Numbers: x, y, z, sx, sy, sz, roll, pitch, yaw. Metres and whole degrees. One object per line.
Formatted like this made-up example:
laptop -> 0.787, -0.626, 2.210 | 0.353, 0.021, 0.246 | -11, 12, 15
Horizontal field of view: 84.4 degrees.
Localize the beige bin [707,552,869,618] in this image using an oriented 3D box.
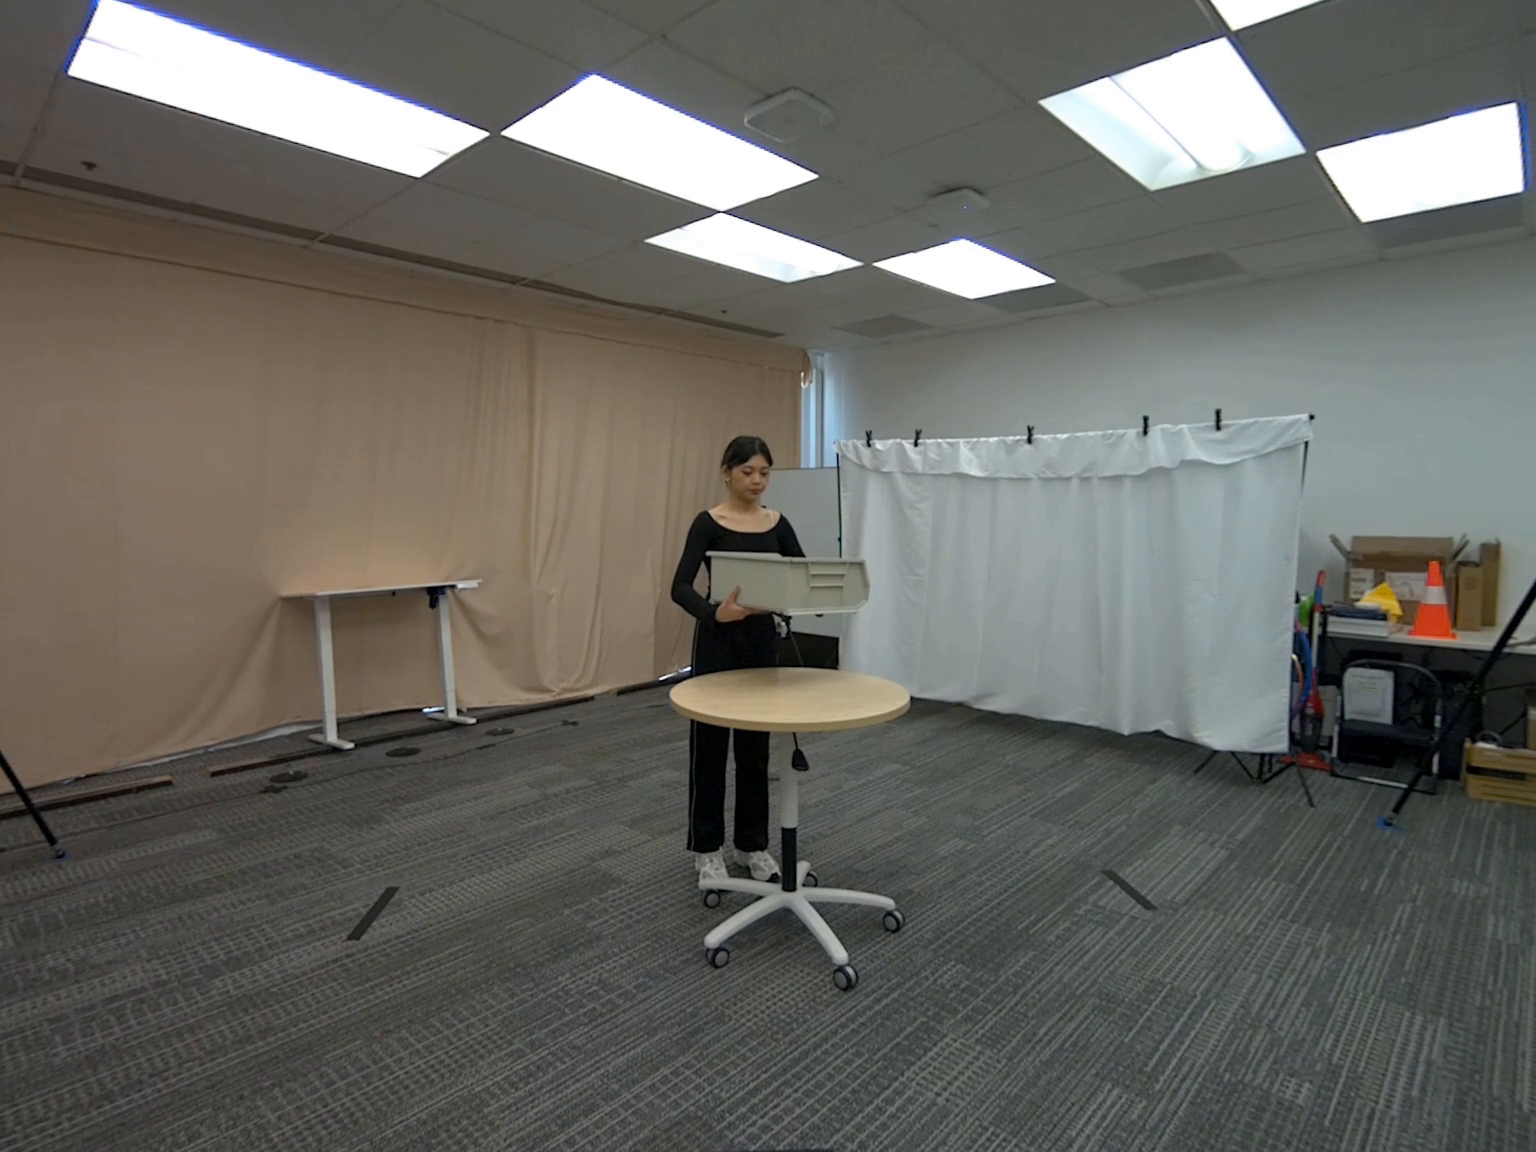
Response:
beige bin -> 0.060, 0.023, 2.858 | 0.366, 0.188, 0.436 | -1, 5, -39
